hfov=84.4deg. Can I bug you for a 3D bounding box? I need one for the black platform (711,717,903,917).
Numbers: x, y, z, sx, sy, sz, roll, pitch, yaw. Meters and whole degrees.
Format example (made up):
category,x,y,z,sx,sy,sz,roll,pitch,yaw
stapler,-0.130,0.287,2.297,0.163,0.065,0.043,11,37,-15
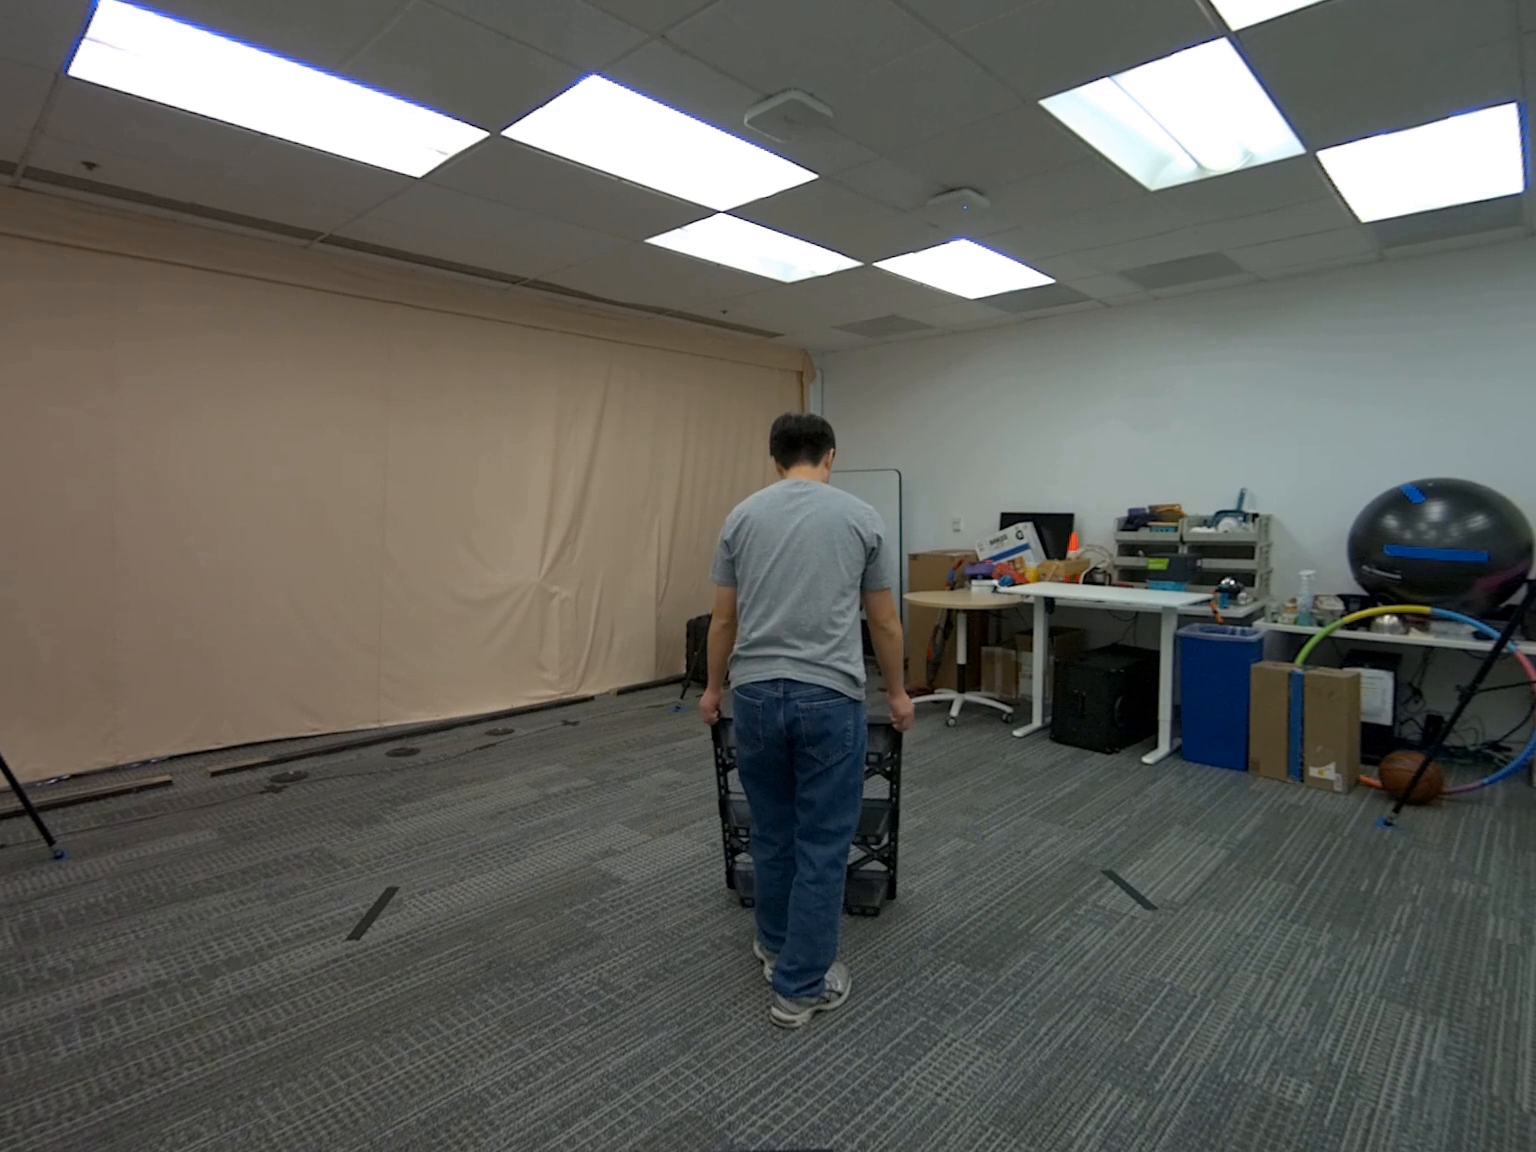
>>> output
category,x,y,z,sx,sy,sz,roll,pitch,yaw
black platform,0.135,0.806,2.774,0.611,0.791,0.144,1,29,8
